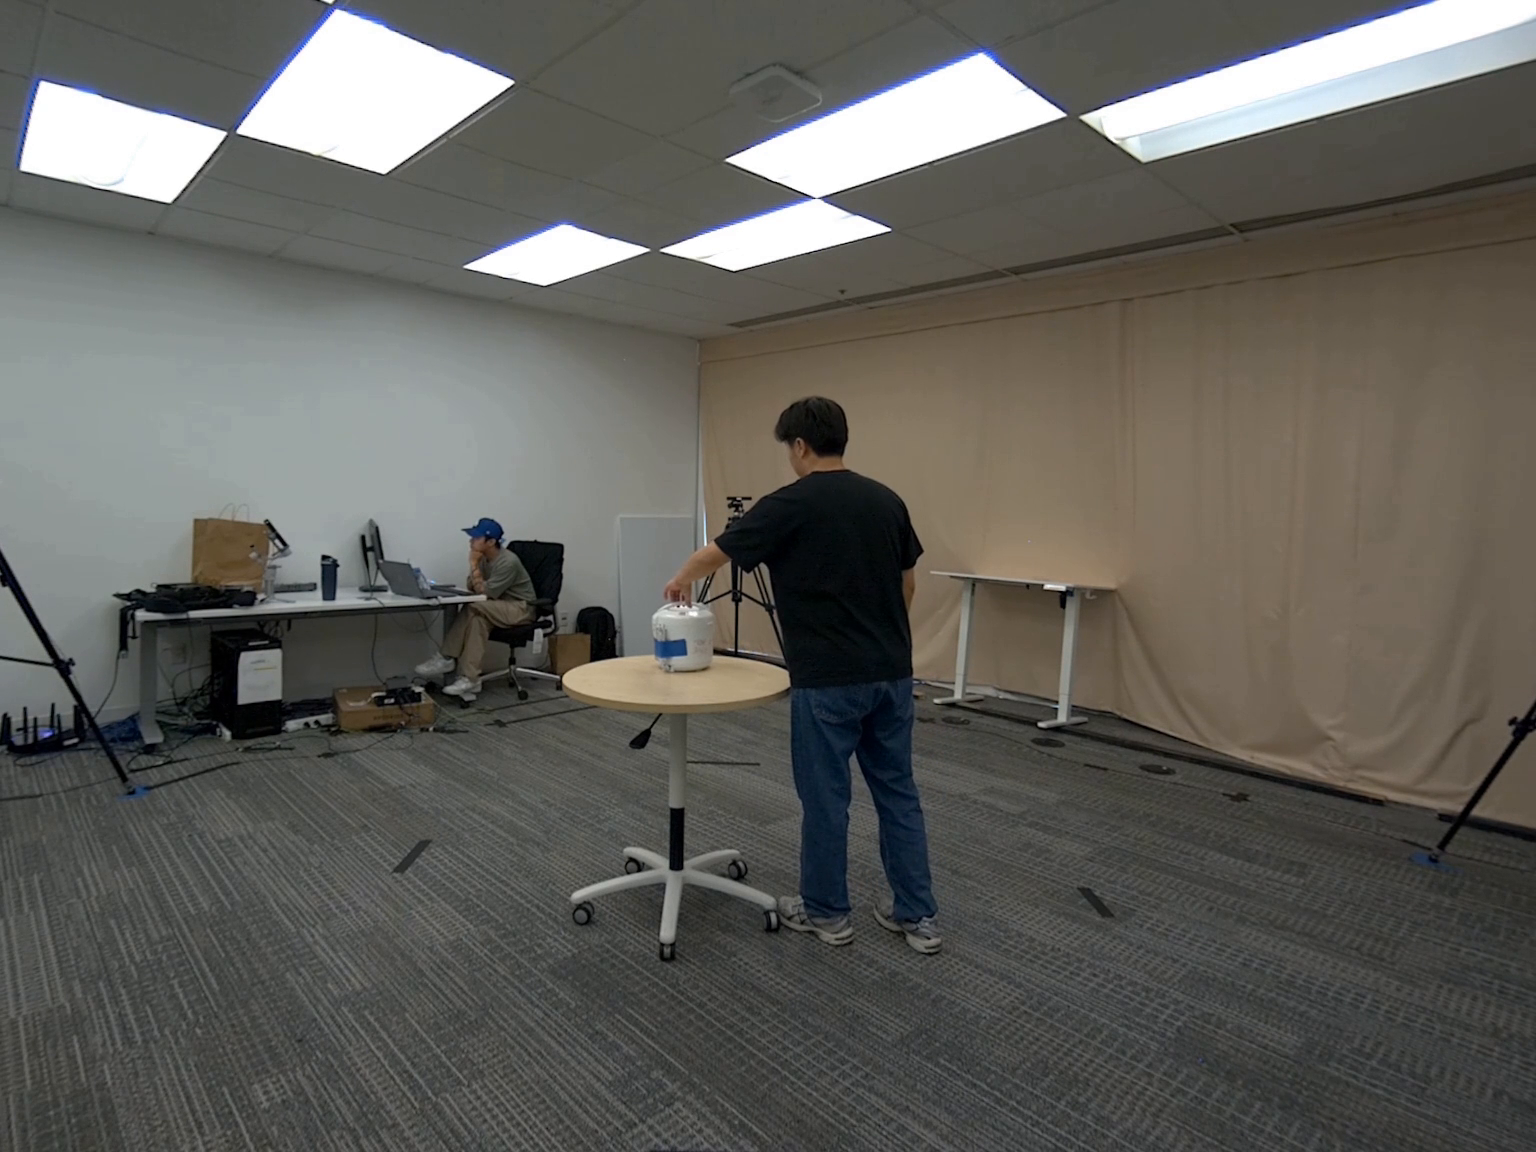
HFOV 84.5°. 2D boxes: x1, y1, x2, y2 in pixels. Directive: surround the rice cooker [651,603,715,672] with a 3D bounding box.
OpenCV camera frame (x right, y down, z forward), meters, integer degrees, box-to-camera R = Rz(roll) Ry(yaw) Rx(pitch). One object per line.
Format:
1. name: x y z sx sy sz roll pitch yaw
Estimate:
1. rice cooker: -0.303 0.206 2.947 0.218 0.232 0.220 0 5 -12
